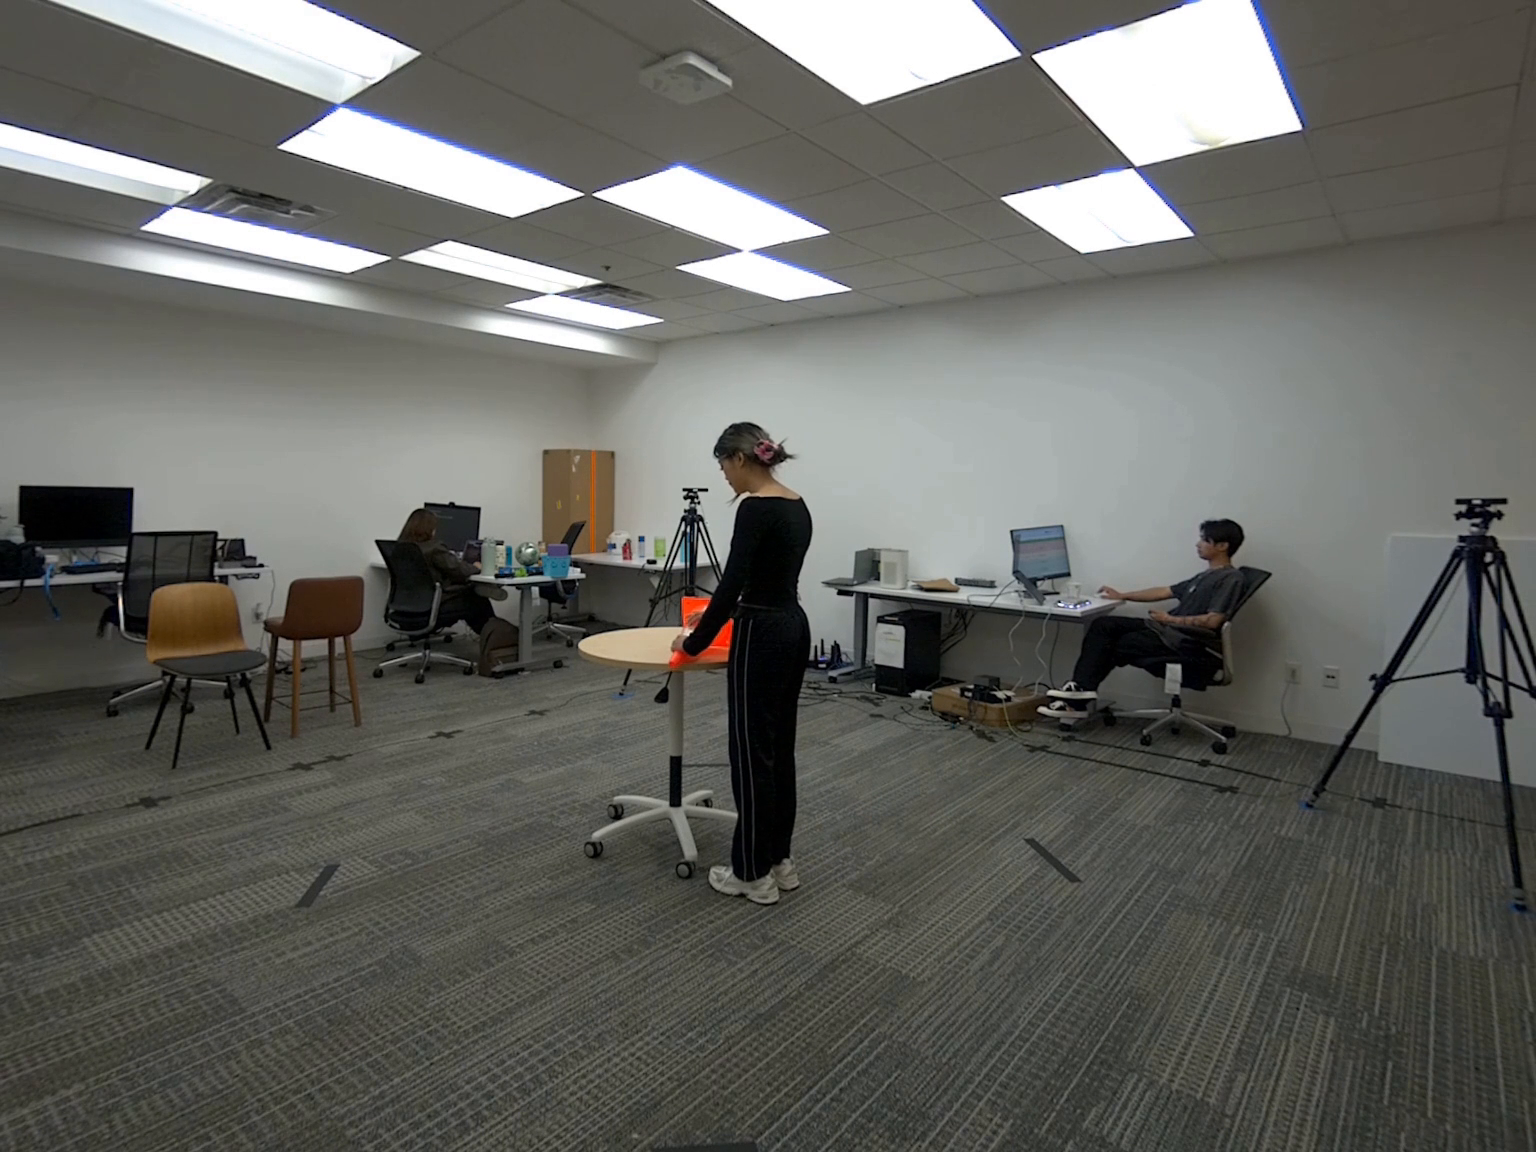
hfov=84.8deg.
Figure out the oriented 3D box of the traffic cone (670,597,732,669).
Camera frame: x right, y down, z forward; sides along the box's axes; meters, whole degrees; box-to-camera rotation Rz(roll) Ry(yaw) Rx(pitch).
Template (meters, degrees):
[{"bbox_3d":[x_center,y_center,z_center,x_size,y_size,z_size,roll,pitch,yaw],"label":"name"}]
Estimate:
[{"bbox_3d":[-0.277,0.238,3.048,0.207,0.201,0.384,1,18,15],"label":"traffic cone"}]
